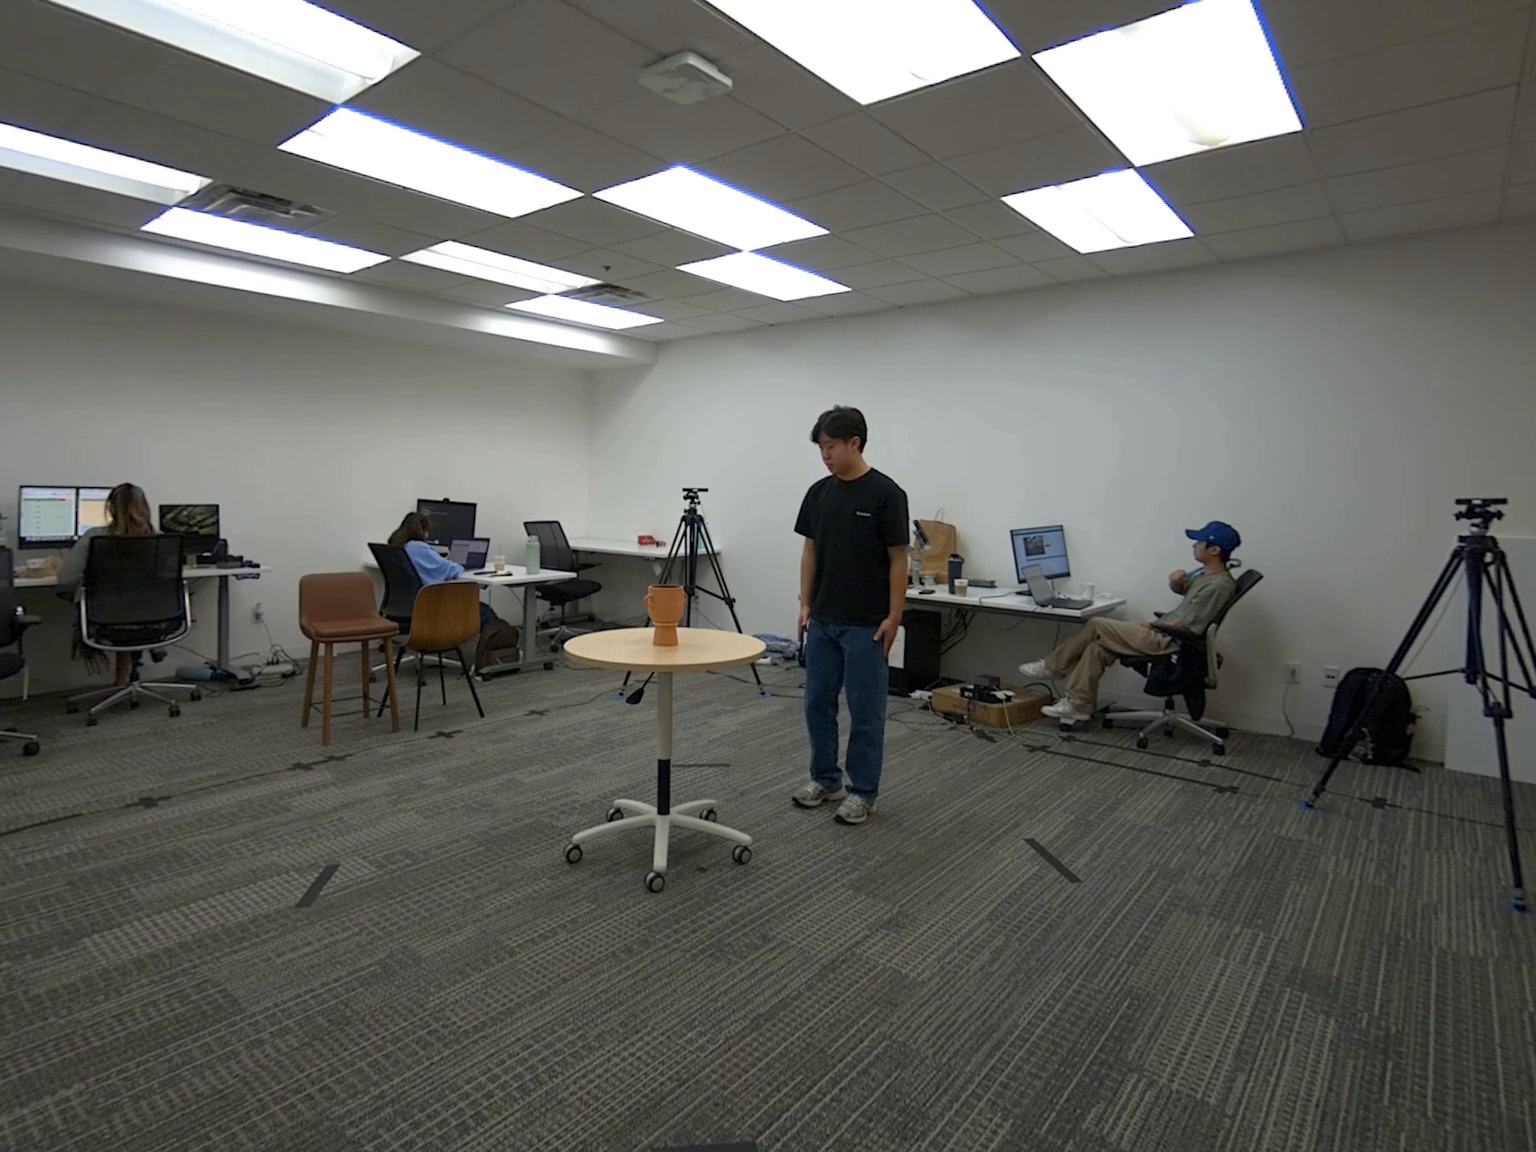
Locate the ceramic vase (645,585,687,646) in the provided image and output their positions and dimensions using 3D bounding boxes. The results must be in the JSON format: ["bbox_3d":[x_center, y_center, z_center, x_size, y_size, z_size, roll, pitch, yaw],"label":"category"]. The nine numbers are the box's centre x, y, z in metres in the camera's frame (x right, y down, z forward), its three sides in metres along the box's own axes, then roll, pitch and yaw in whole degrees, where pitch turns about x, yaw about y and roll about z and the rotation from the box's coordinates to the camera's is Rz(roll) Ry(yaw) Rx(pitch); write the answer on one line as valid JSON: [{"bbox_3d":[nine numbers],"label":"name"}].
[{"bbox_3d":[-0.404,0.149,3.235,0.159,0.219,0.135,0,4,0],"label":"ceramic vase"}]
